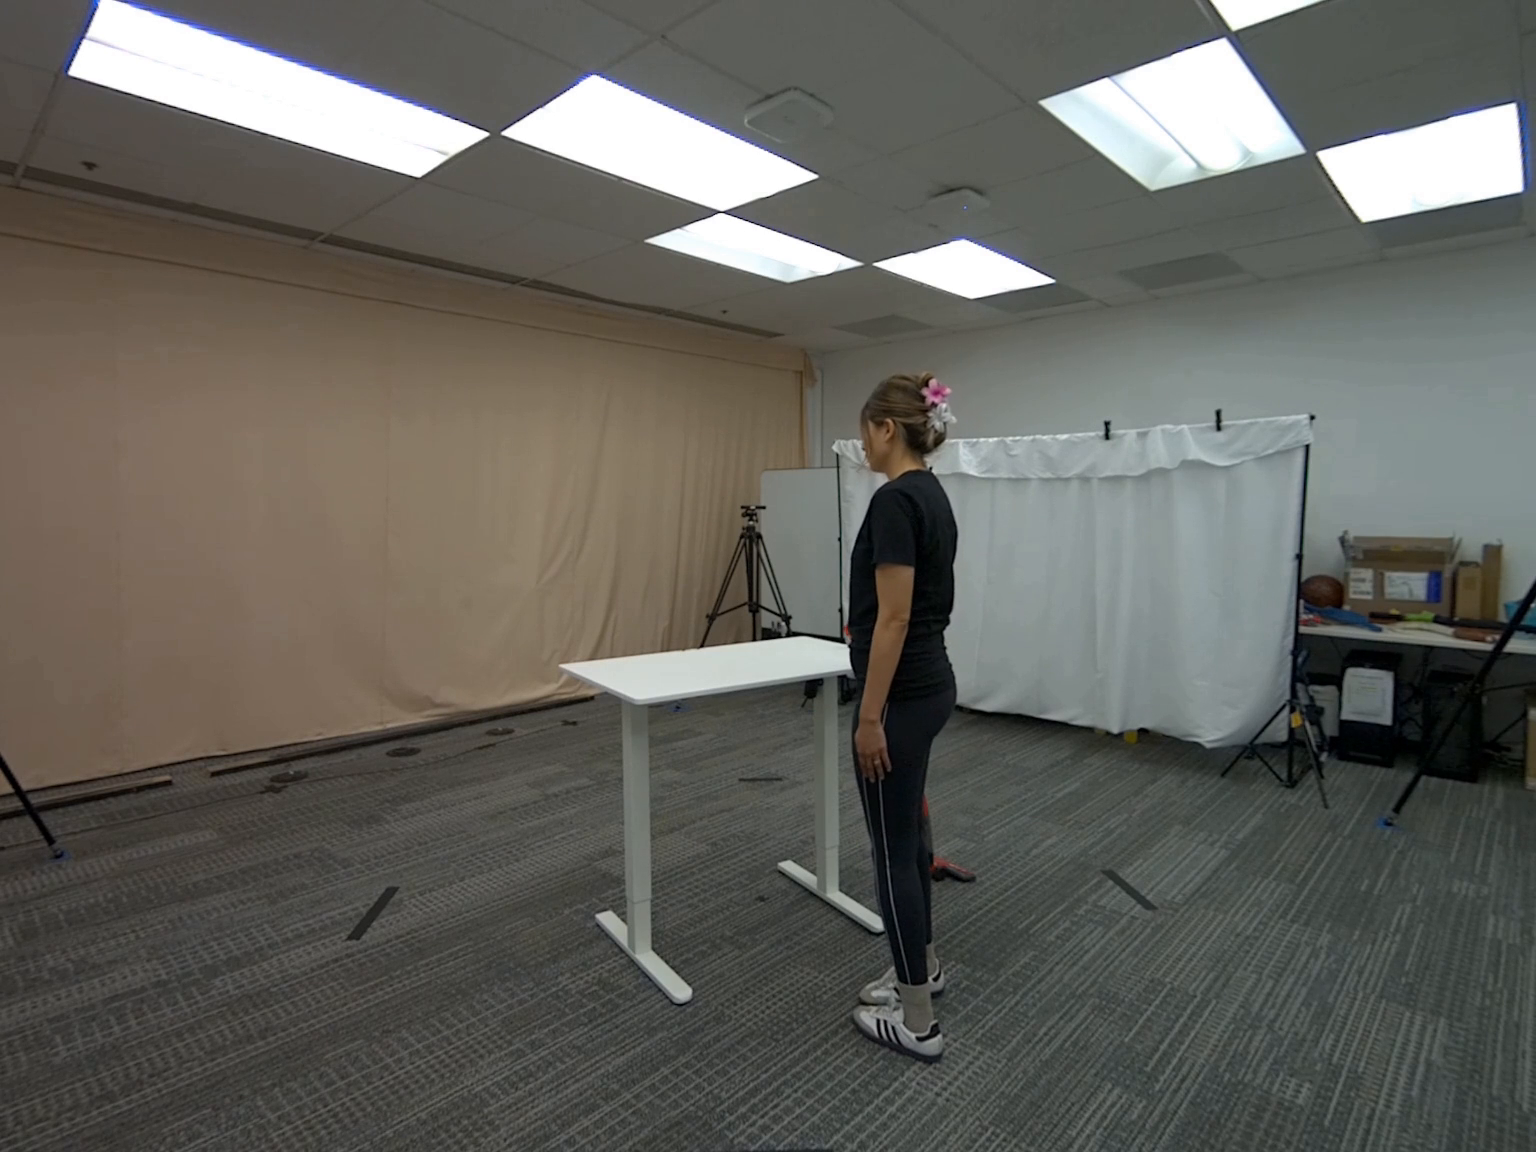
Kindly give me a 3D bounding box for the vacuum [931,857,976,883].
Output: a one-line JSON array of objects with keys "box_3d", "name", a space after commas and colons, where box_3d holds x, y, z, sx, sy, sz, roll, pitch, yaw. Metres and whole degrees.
[{"box_3d": [0.474, 0.654, 3.073, 0.260, 1.035, 0.141, -4, 22, 48], "name": "vacuum"}]
